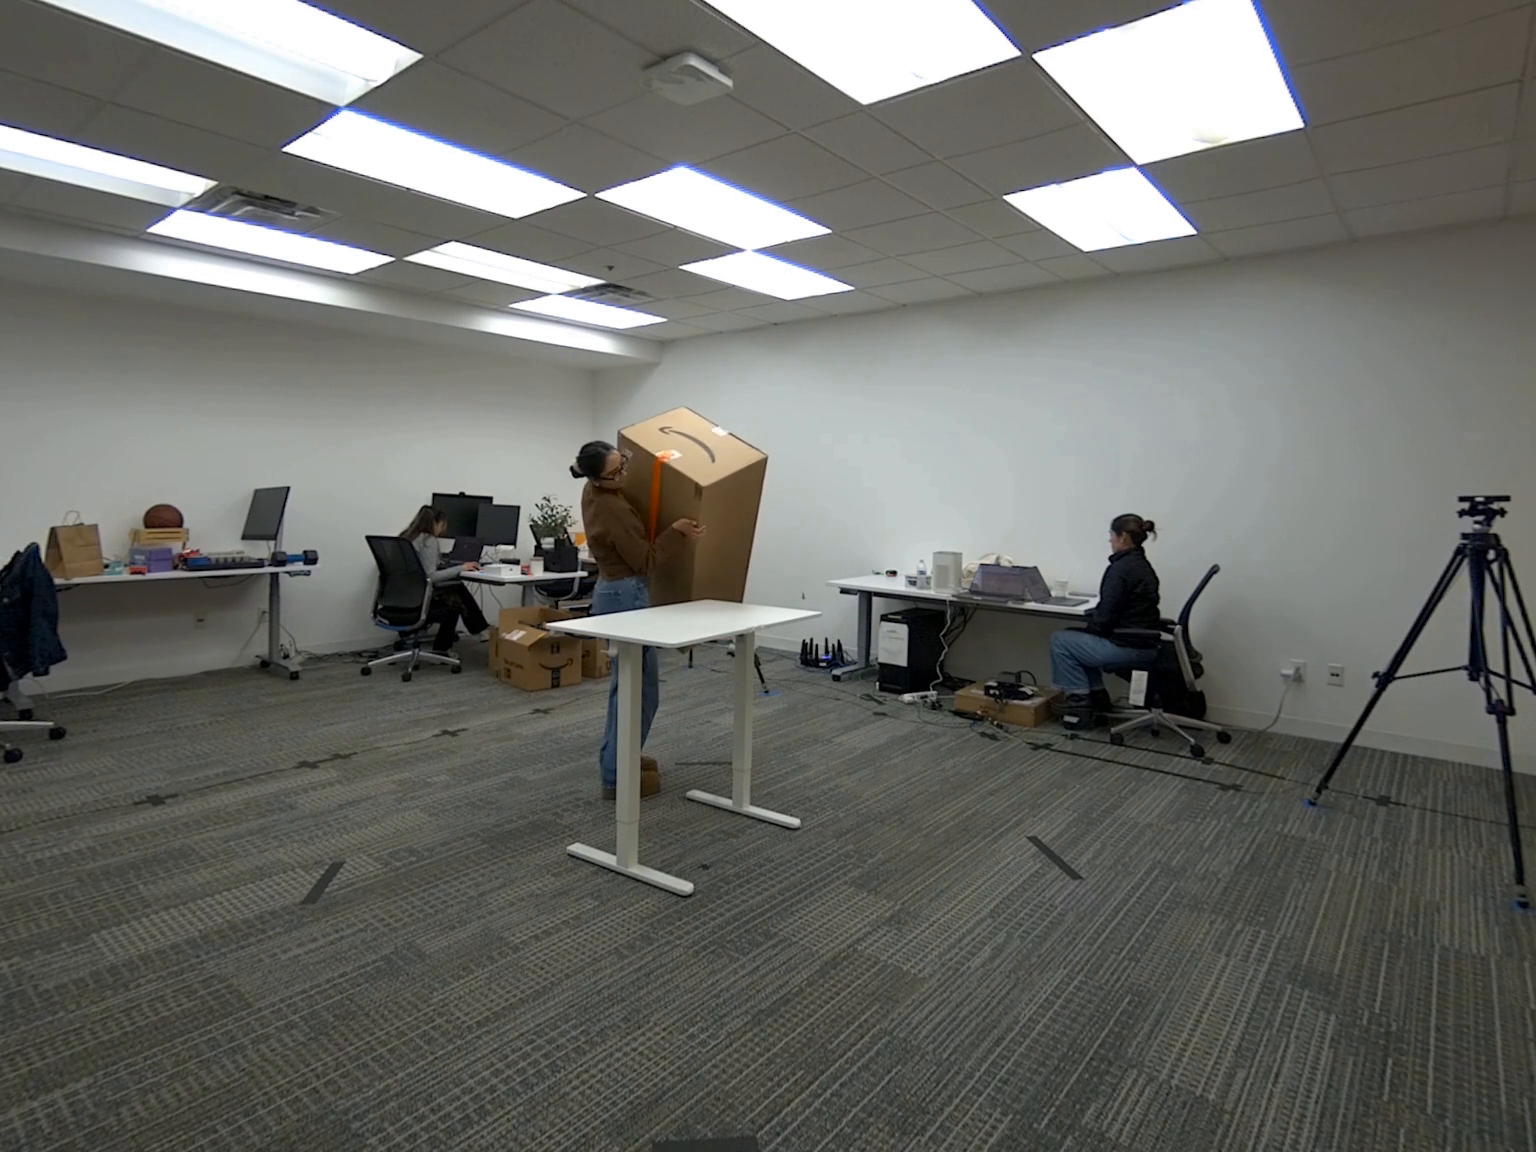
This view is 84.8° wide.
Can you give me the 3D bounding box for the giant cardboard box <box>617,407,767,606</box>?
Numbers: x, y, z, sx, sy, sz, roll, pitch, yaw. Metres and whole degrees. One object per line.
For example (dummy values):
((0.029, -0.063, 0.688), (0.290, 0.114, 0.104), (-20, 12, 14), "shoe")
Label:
((-0.426, -0.217, 4.202), (0.599, 1.002, 0.420), (35, 44, 29), "giant cardboard box")
